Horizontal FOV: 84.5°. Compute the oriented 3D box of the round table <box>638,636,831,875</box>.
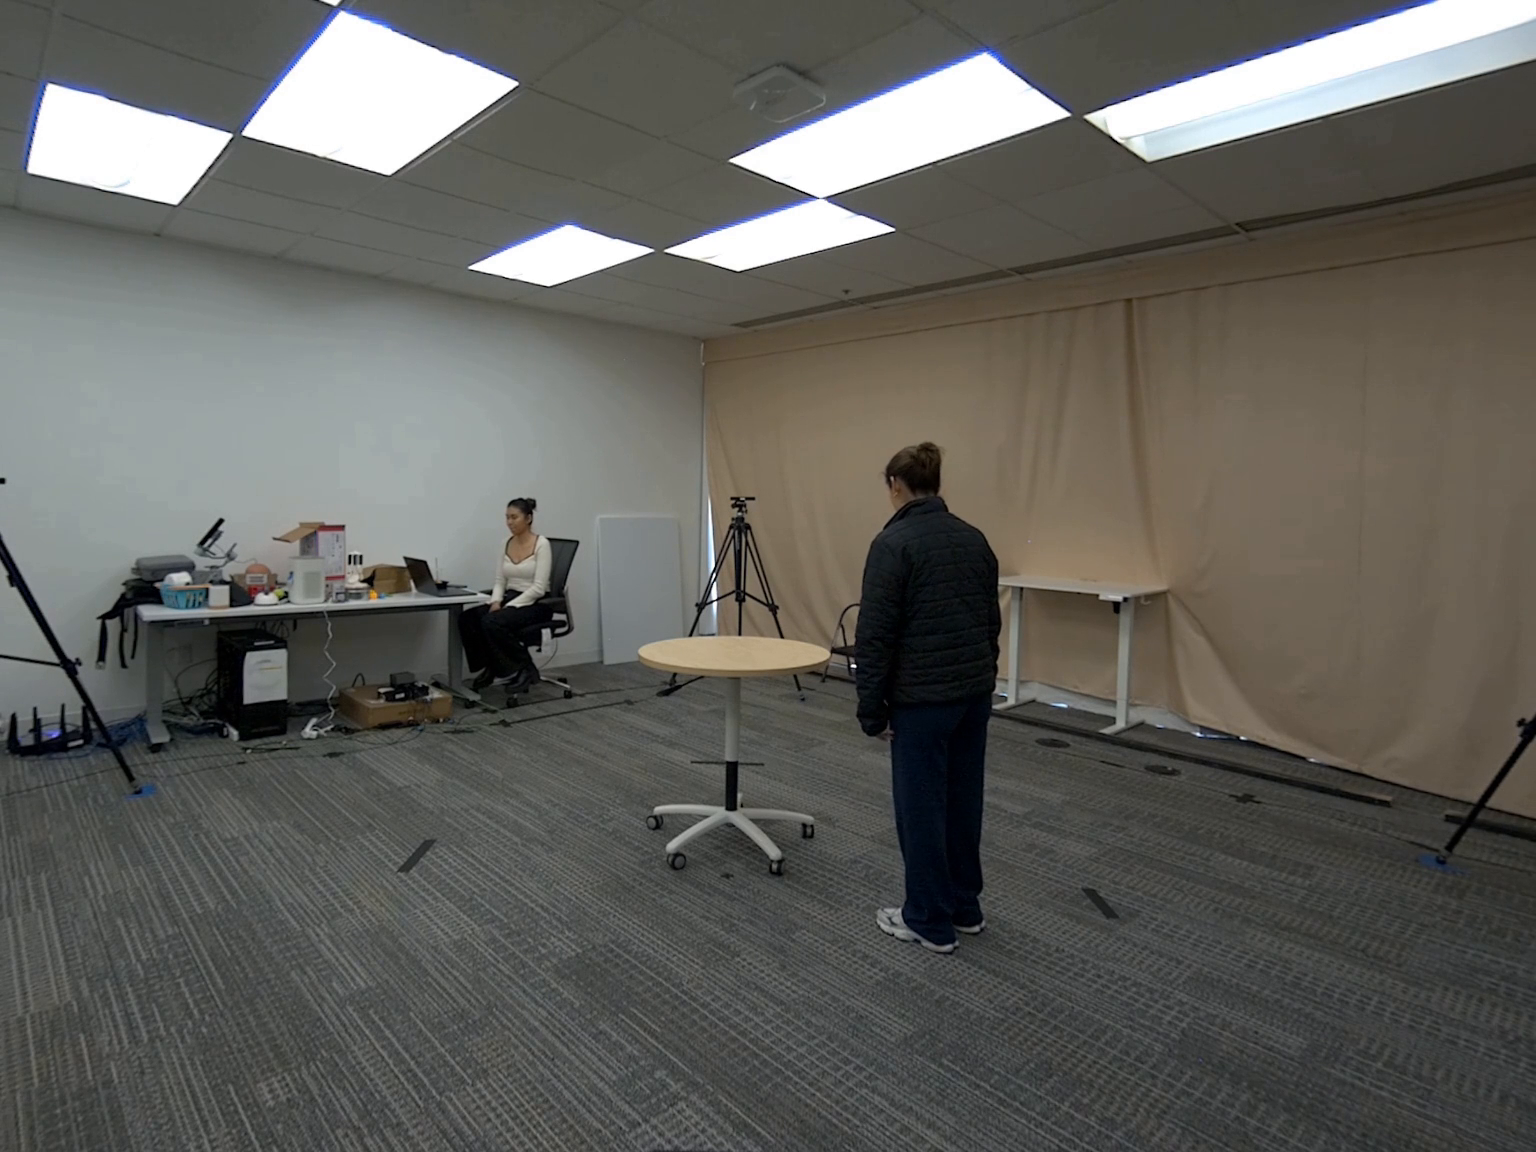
[{"bbox_3d":[-0.134,0.691,3.367,0.784,0.785,0.787,1,4,-1],"label":"round table"}]
